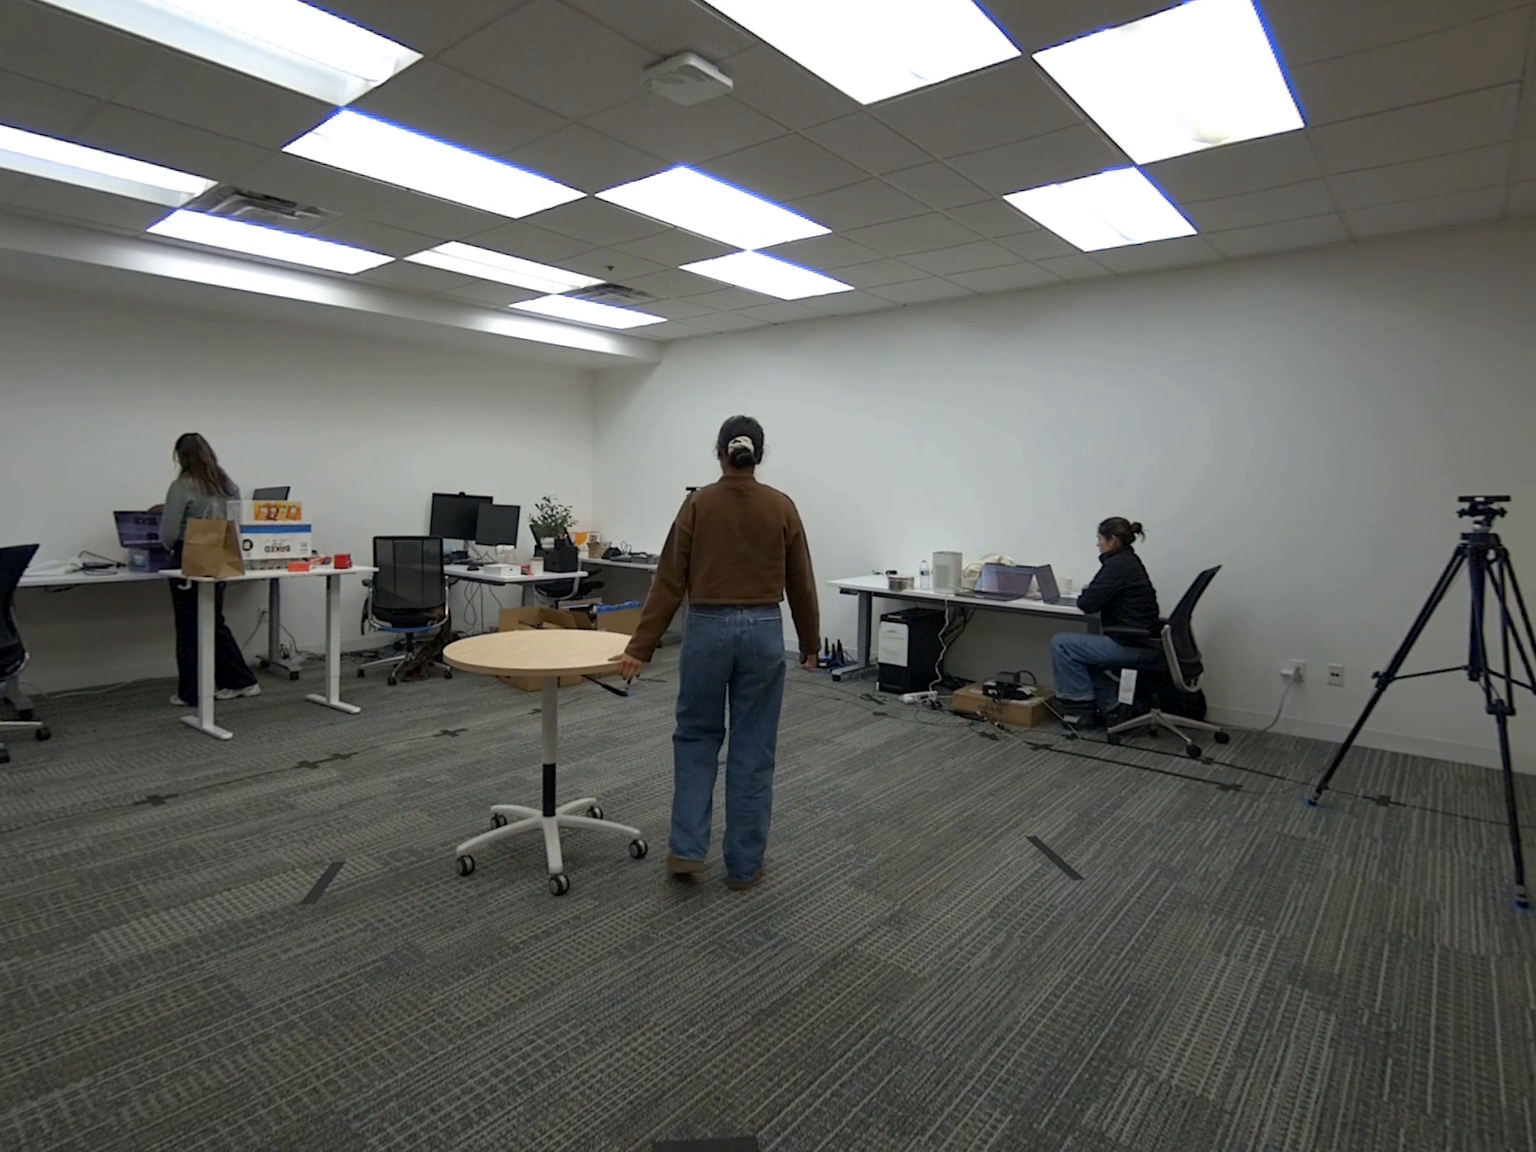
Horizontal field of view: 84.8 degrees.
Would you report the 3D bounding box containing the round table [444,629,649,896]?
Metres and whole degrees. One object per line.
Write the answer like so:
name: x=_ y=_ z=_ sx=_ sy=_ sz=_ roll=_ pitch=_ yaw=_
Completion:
round table: x=-0.848 y=0.654 z=3.208 sx=0.784 sy=0.784 sz=0.789 roll=1 pitch=4 yaw=-2
